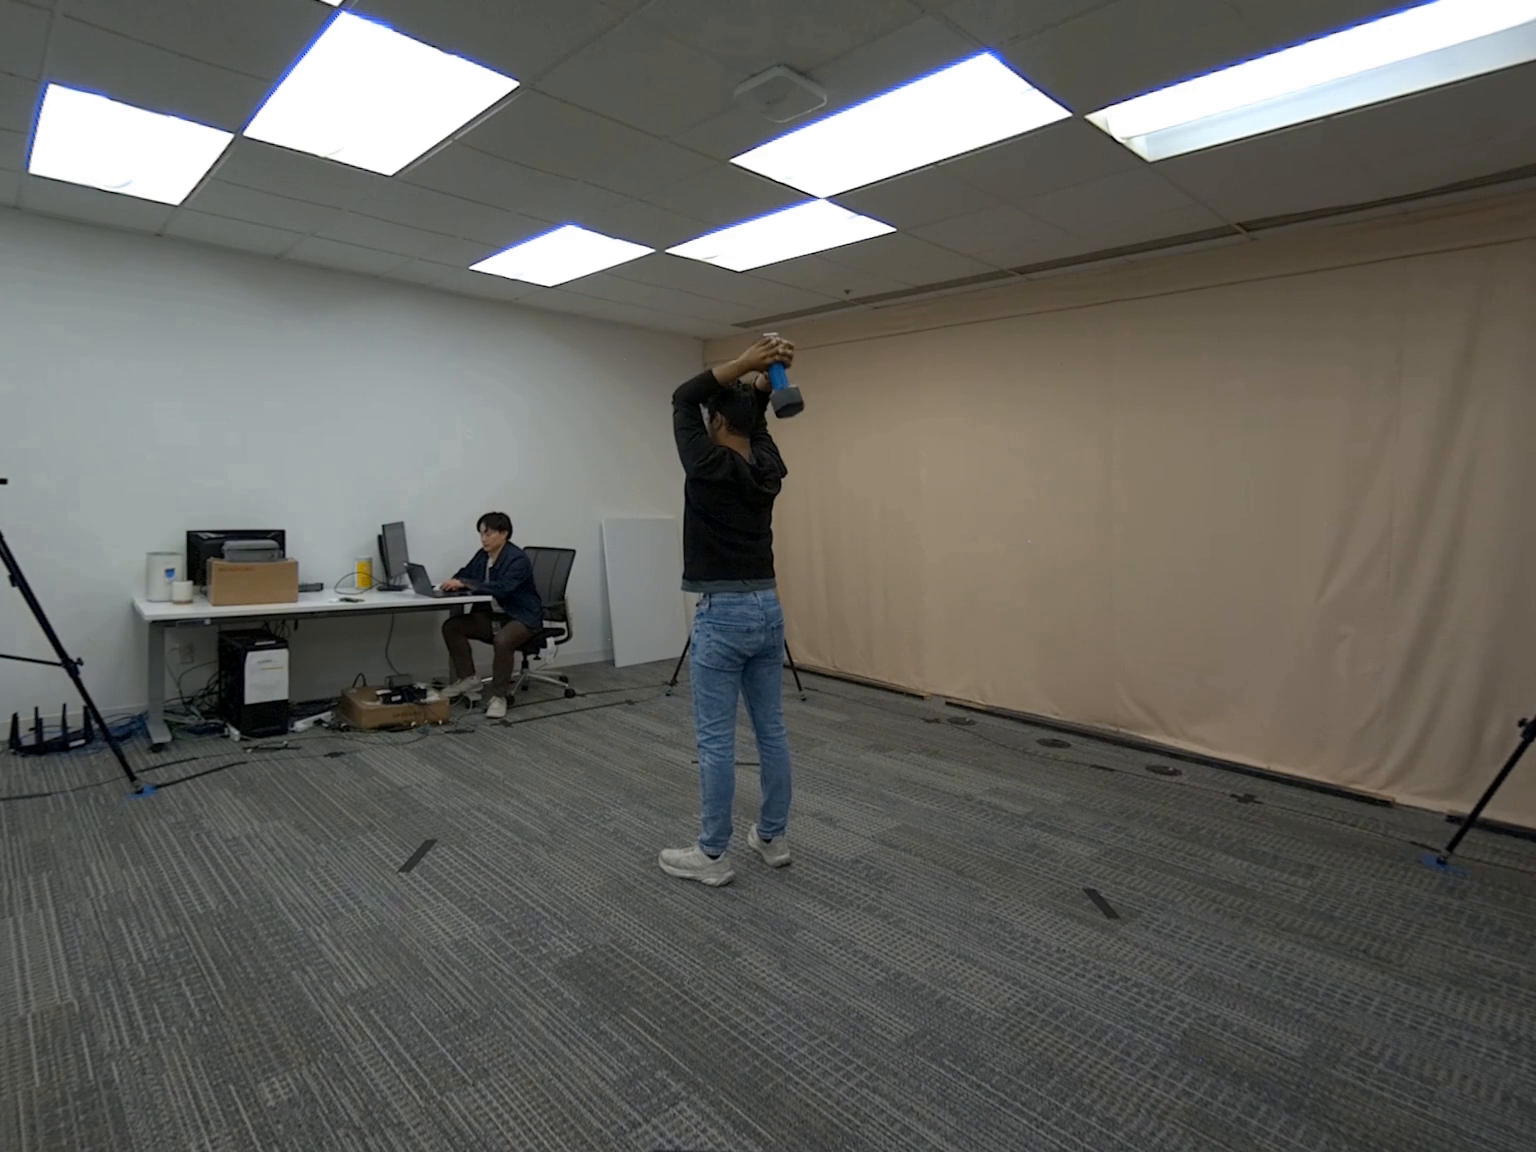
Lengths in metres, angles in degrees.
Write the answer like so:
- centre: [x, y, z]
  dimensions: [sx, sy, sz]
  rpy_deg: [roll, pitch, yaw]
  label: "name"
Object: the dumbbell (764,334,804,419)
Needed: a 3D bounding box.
- centre: [0.023, -0.700, 2.978]
  dimensions: [0.121, 0.298, 0.108]
  rpy_deg: [-11, -17, -23]
  label: "dumbbell"
